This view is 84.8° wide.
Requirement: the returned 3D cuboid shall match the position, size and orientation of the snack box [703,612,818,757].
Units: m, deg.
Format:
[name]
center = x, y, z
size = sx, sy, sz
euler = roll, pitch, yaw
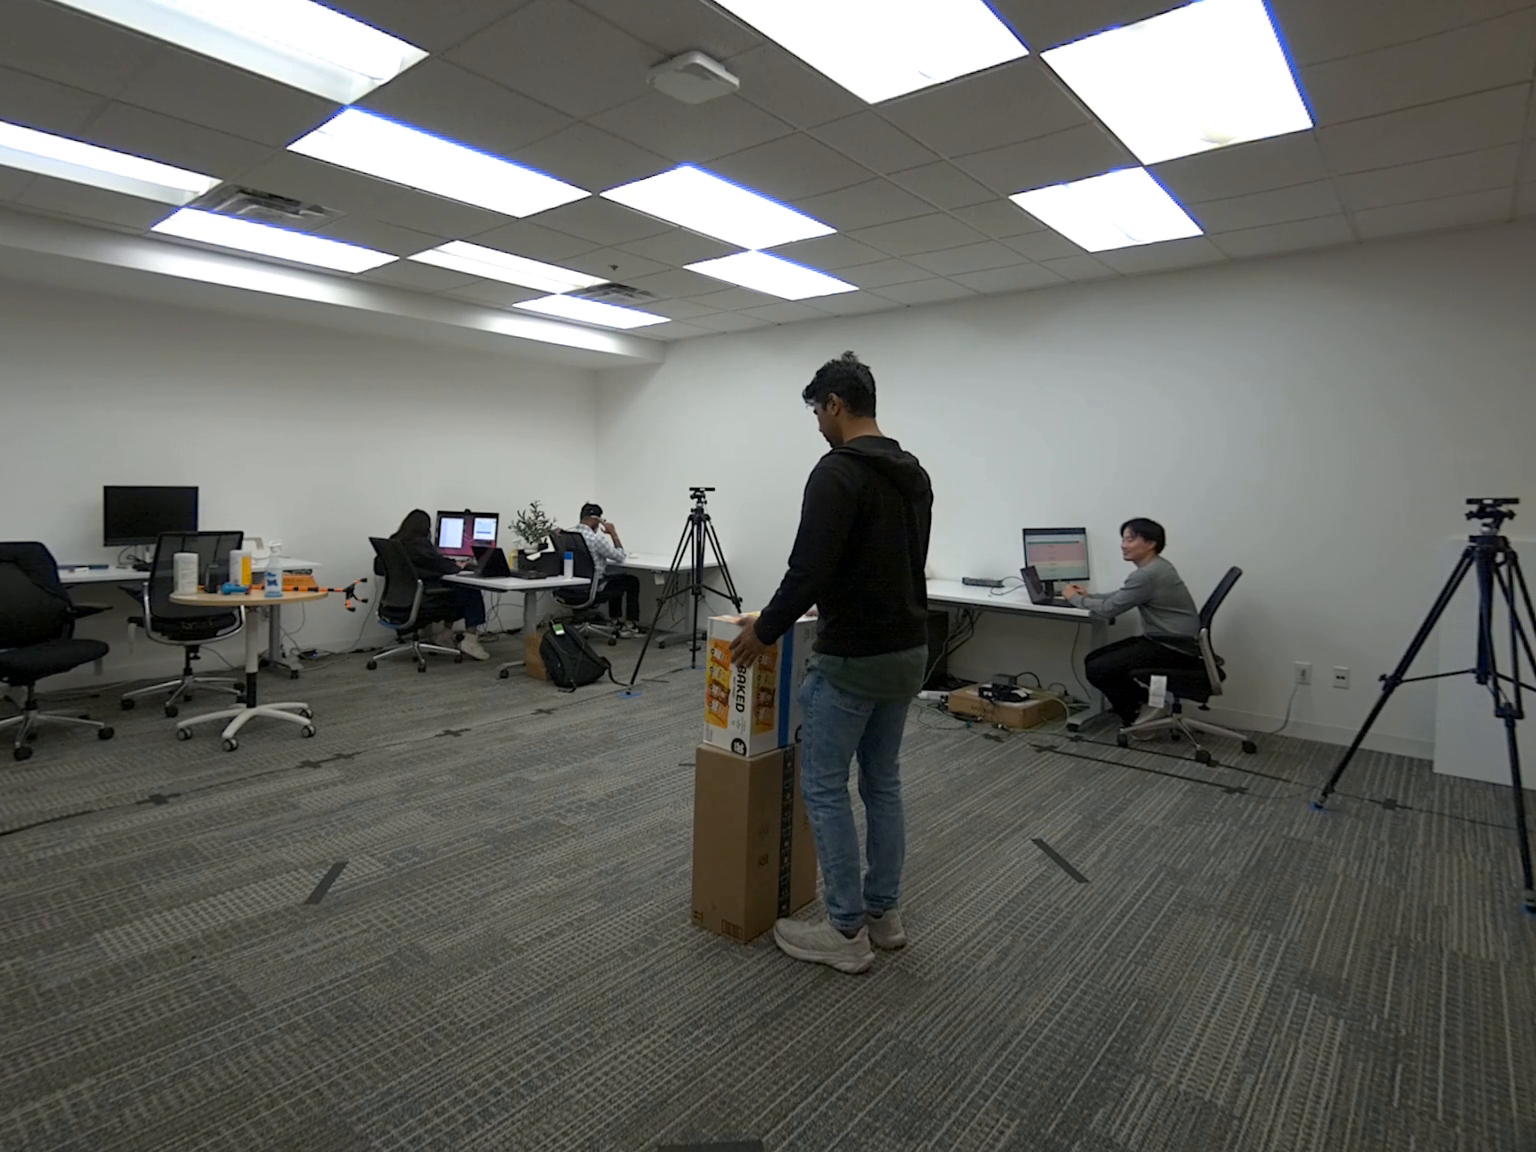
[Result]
[snack box]
center = -0.028, 0.330, 2.779
size = 0.213, 0.404, 0.330
euler = 5, 5, 42
